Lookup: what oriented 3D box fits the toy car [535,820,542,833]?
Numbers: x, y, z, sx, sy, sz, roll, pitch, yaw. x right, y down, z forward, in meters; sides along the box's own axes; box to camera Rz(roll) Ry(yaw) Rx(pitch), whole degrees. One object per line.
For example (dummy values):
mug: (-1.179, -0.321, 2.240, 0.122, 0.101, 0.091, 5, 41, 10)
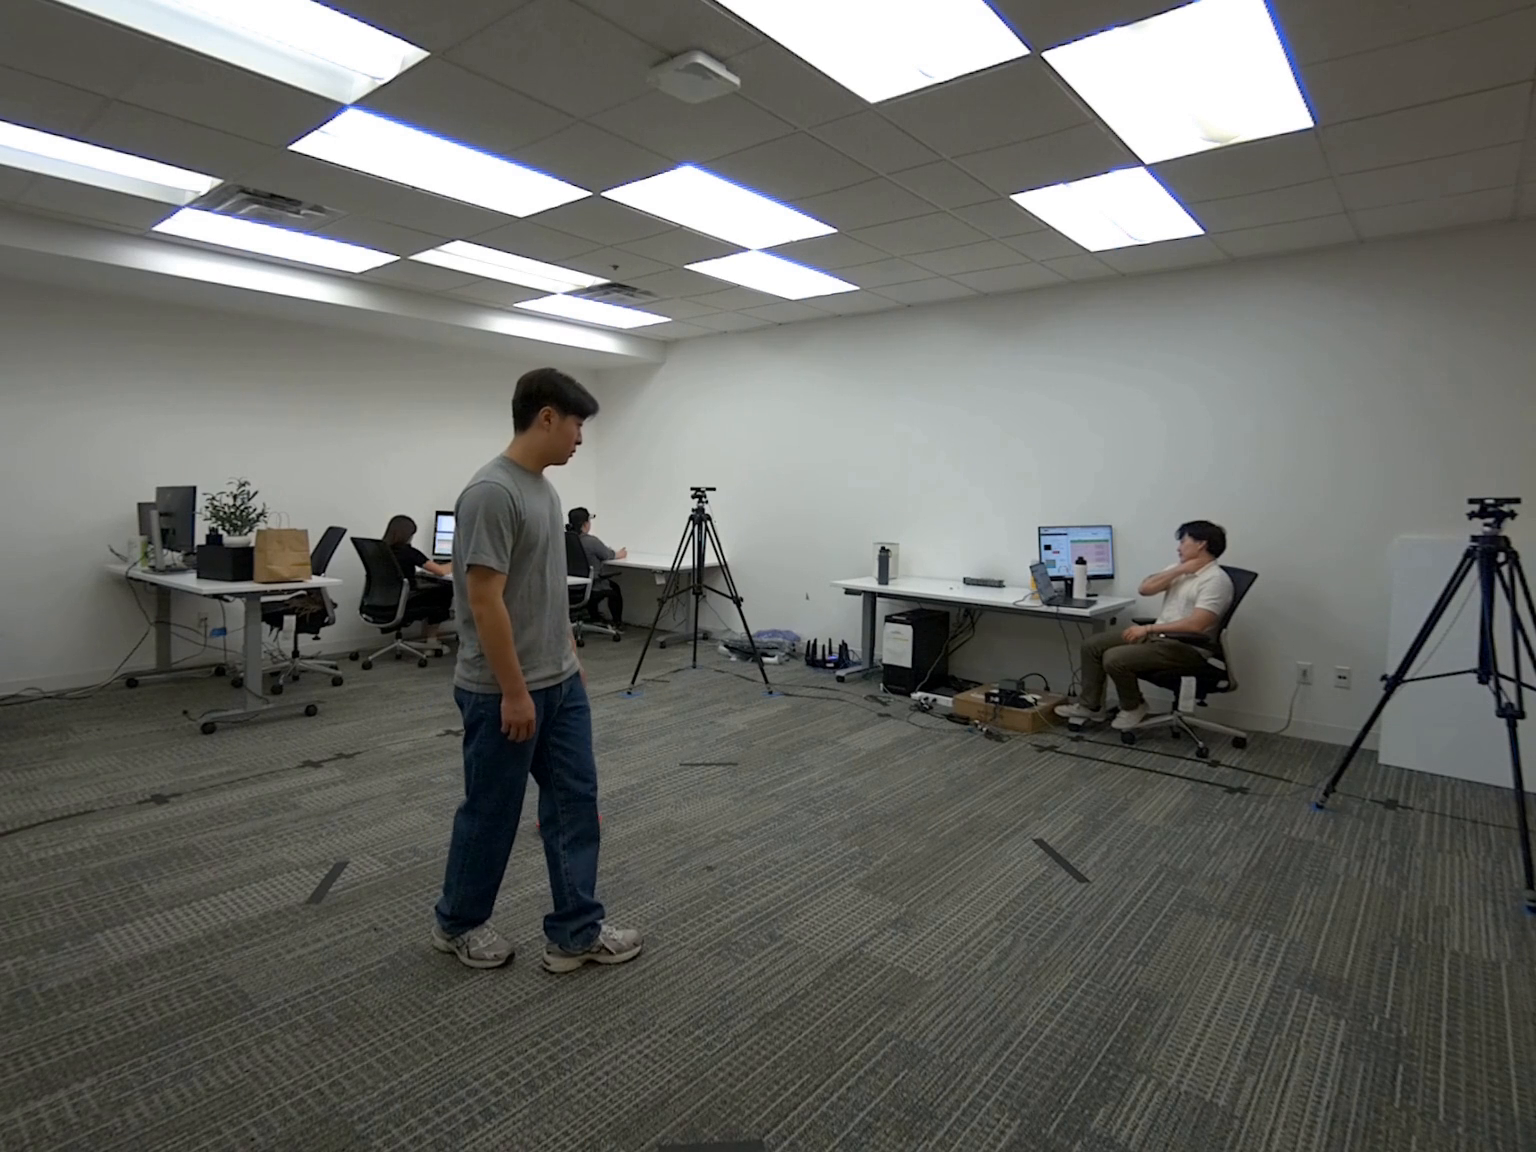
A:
toy car: (-0.803, 0.991, 3.406, 0.255, 0.083, 0.130, -10, 4, 1)
